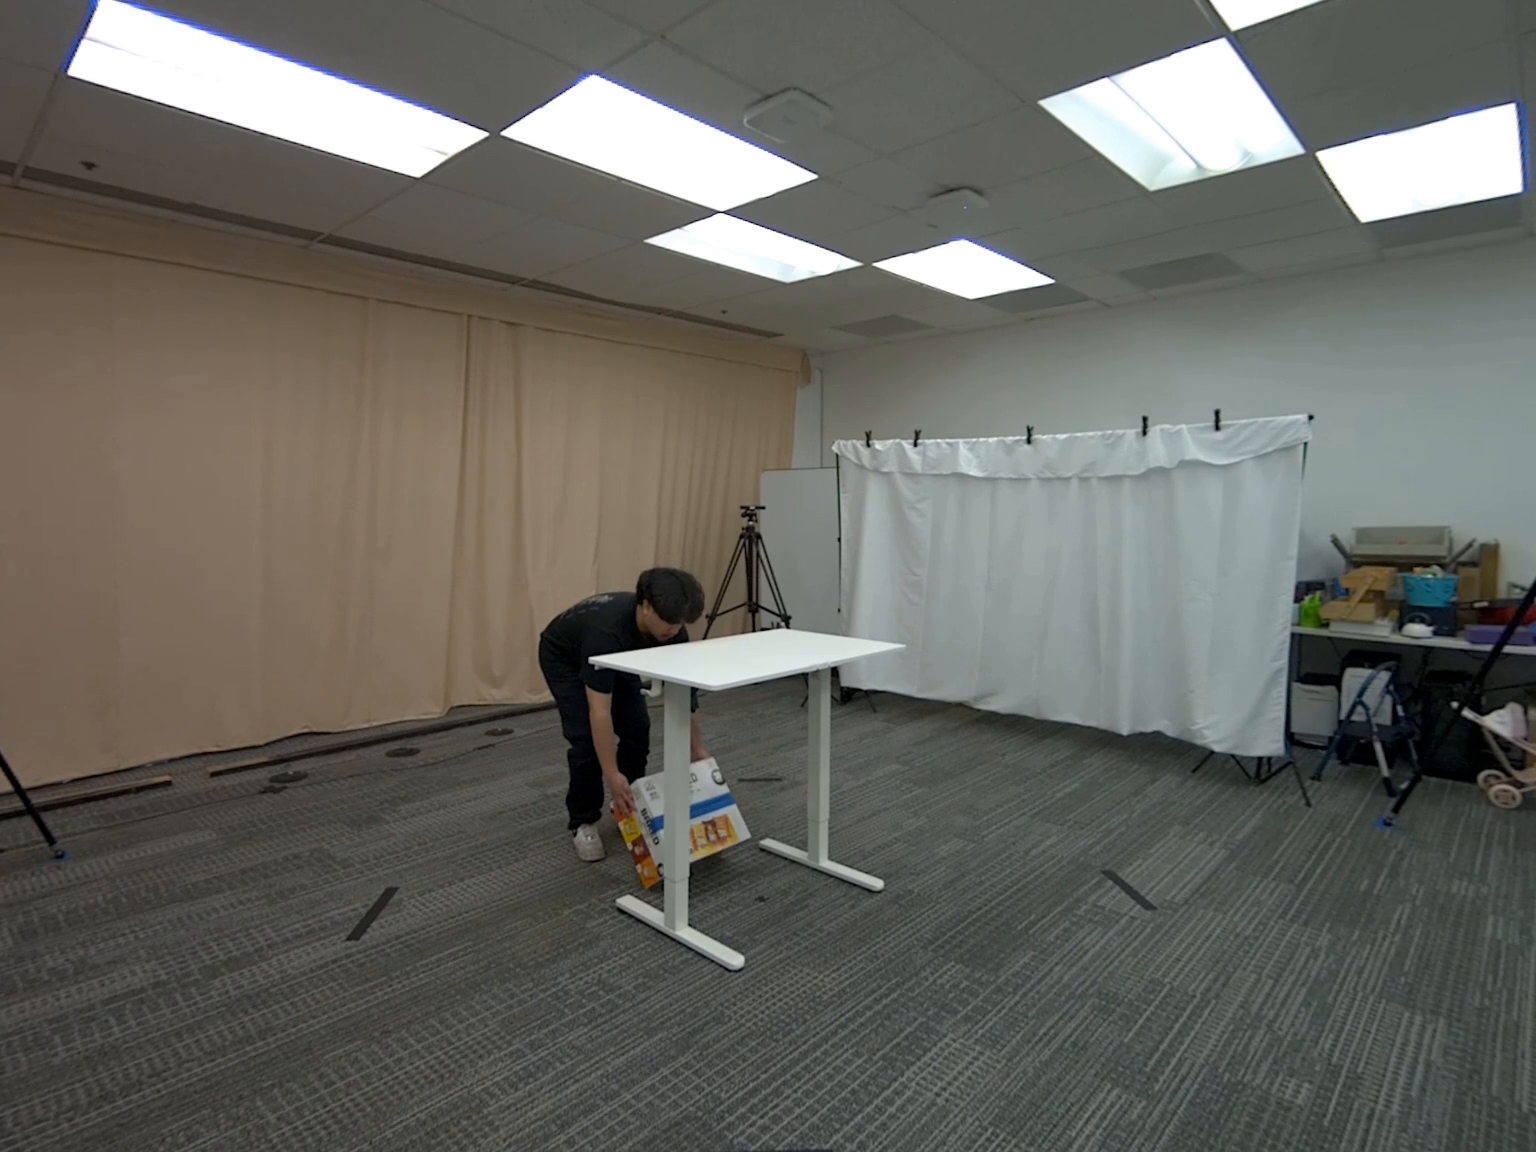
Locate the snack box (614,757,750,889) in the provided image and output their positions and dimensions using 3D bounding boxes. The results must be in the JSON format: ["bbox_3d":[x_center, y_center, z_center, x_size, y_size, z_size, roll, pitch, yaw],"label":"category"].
[{"bbox_3d":[-0.332,0.927,3.204,0.393,0.348,0.207,-4,-33,-47],"label":"snack box"}]
